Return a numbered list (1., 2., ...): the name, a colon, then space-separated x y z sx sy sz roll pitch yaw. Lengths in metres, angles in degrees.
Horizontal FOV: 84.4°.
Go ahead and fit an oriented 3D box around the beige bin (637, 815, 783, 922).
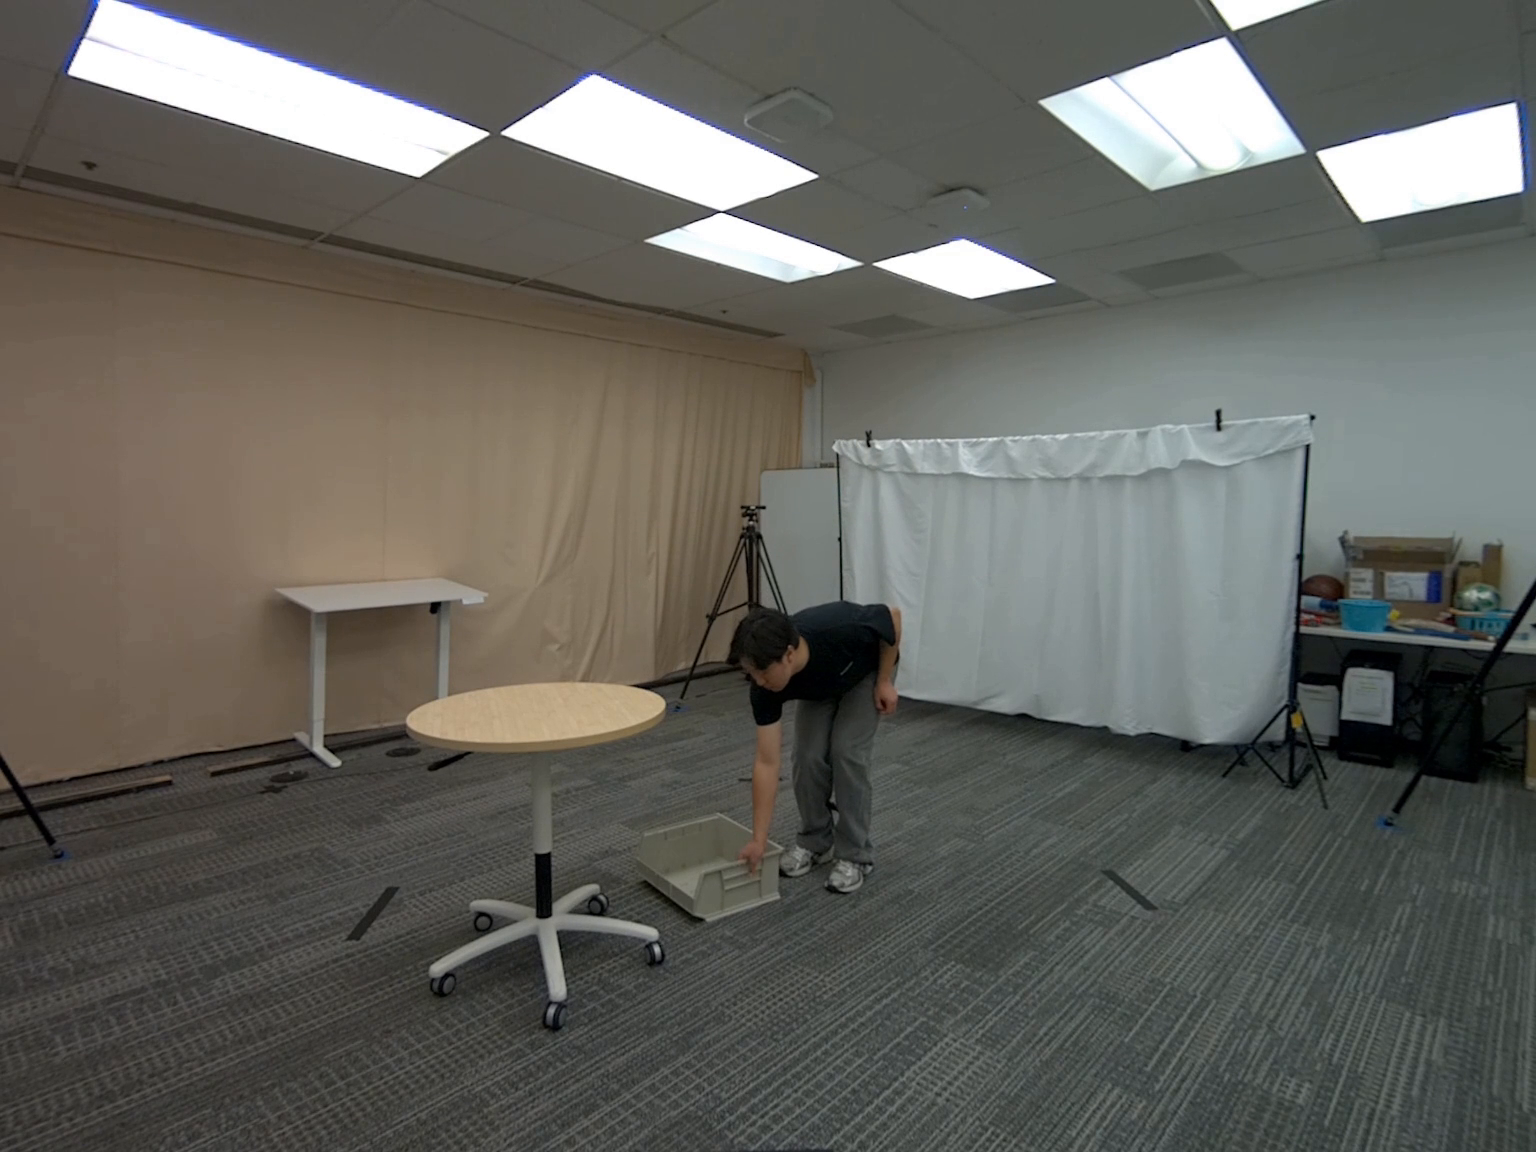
1. beige bin: -0.215 1.049 3.055 0.366 0.188 0.436 -2 5 -35
